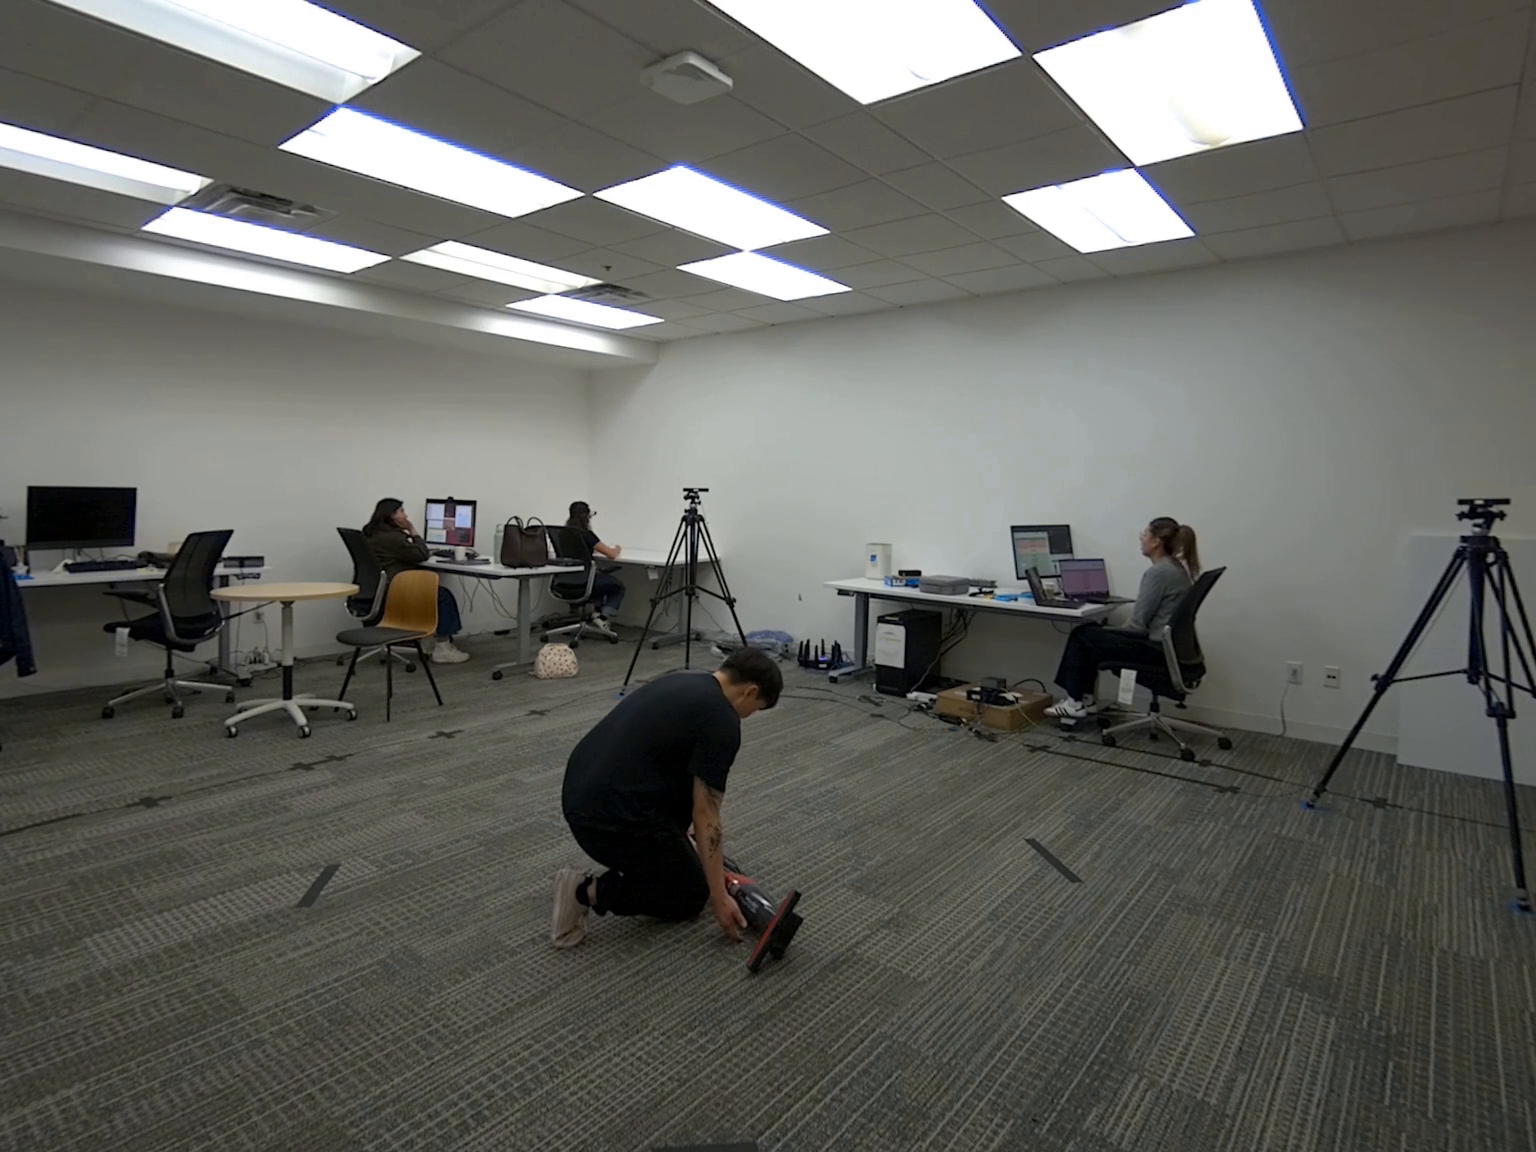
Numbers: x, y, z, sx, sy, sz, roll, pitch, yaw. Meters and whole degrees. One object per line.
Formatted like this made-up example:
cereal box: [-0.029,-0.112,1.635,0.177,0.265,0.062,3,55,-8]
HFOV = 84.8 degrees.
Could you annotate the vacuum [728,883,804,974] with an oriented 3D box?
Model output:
vacuum: [-0.176,1.023,2.977,0.140,0.253,1.072,38,-12,-19]
